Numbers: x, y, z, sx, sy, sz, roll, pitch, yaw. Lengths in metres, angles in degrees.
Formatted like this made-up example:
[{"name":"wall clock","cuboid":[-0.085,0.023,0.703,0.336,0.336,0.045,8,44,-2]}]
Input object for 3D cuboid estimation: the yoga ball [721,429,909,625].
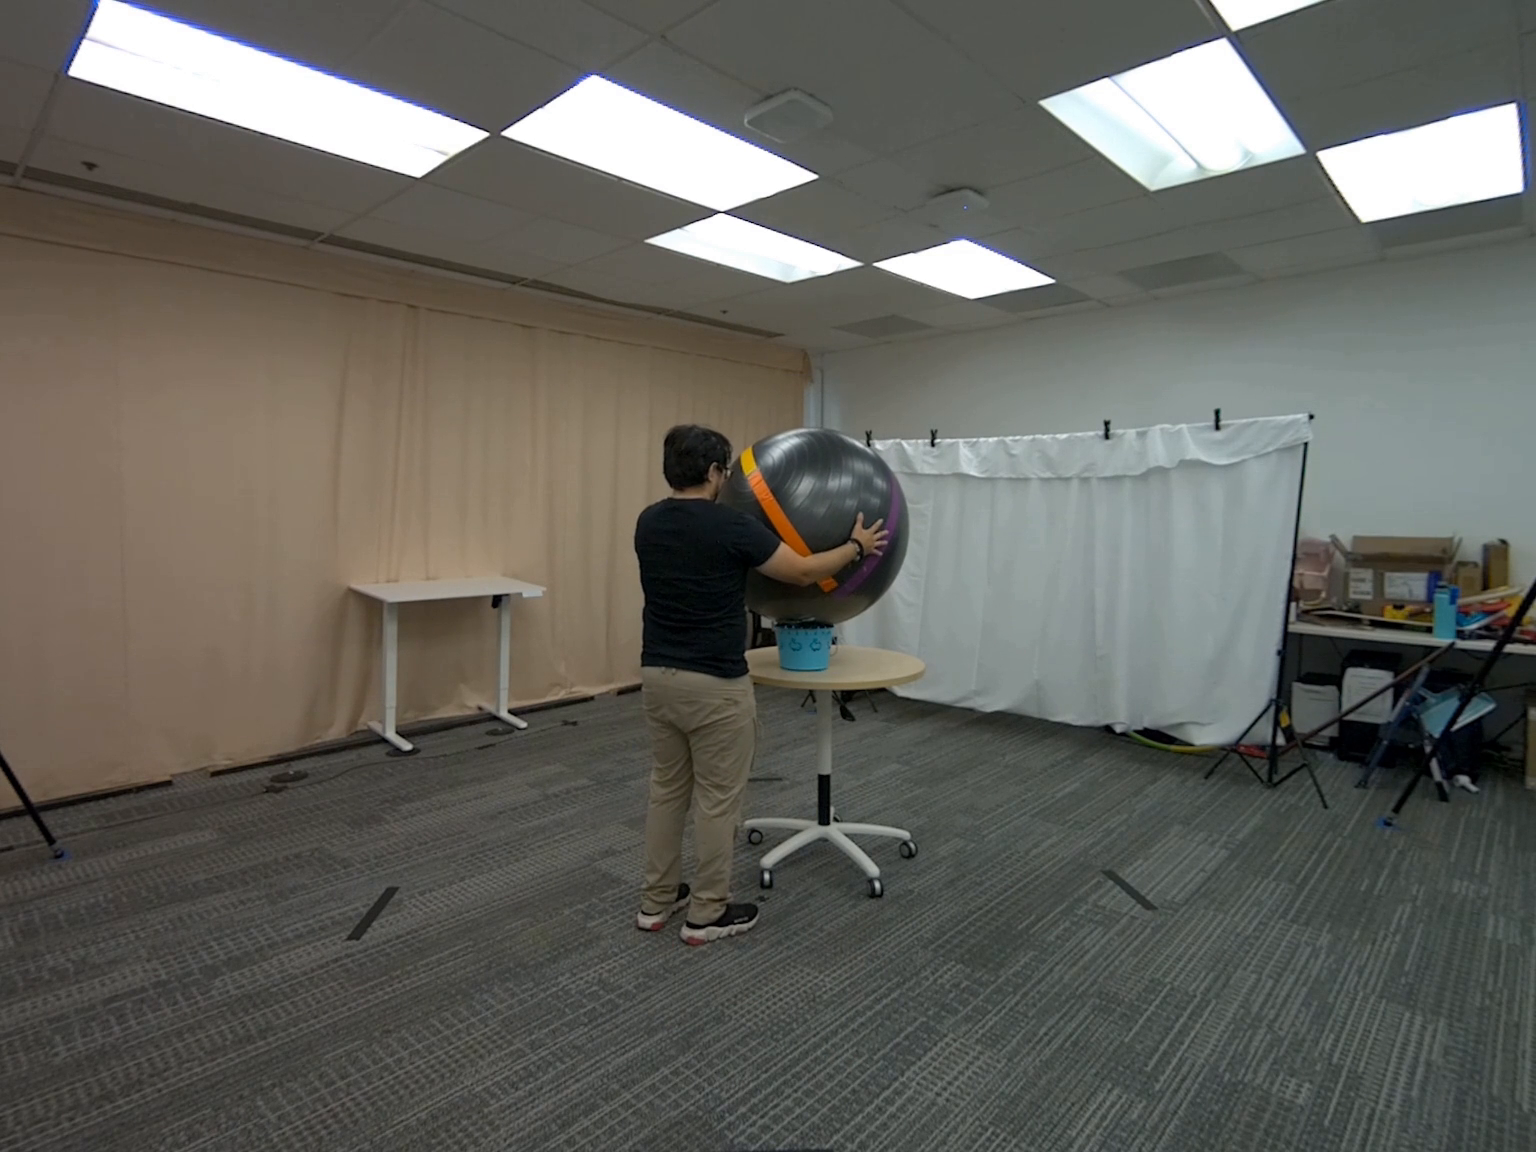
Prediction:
[{"name":"yoga ball","cuboid":[0.157,-0.181,3.210,0.757,0.756,0.760,0,4,-2]}]
